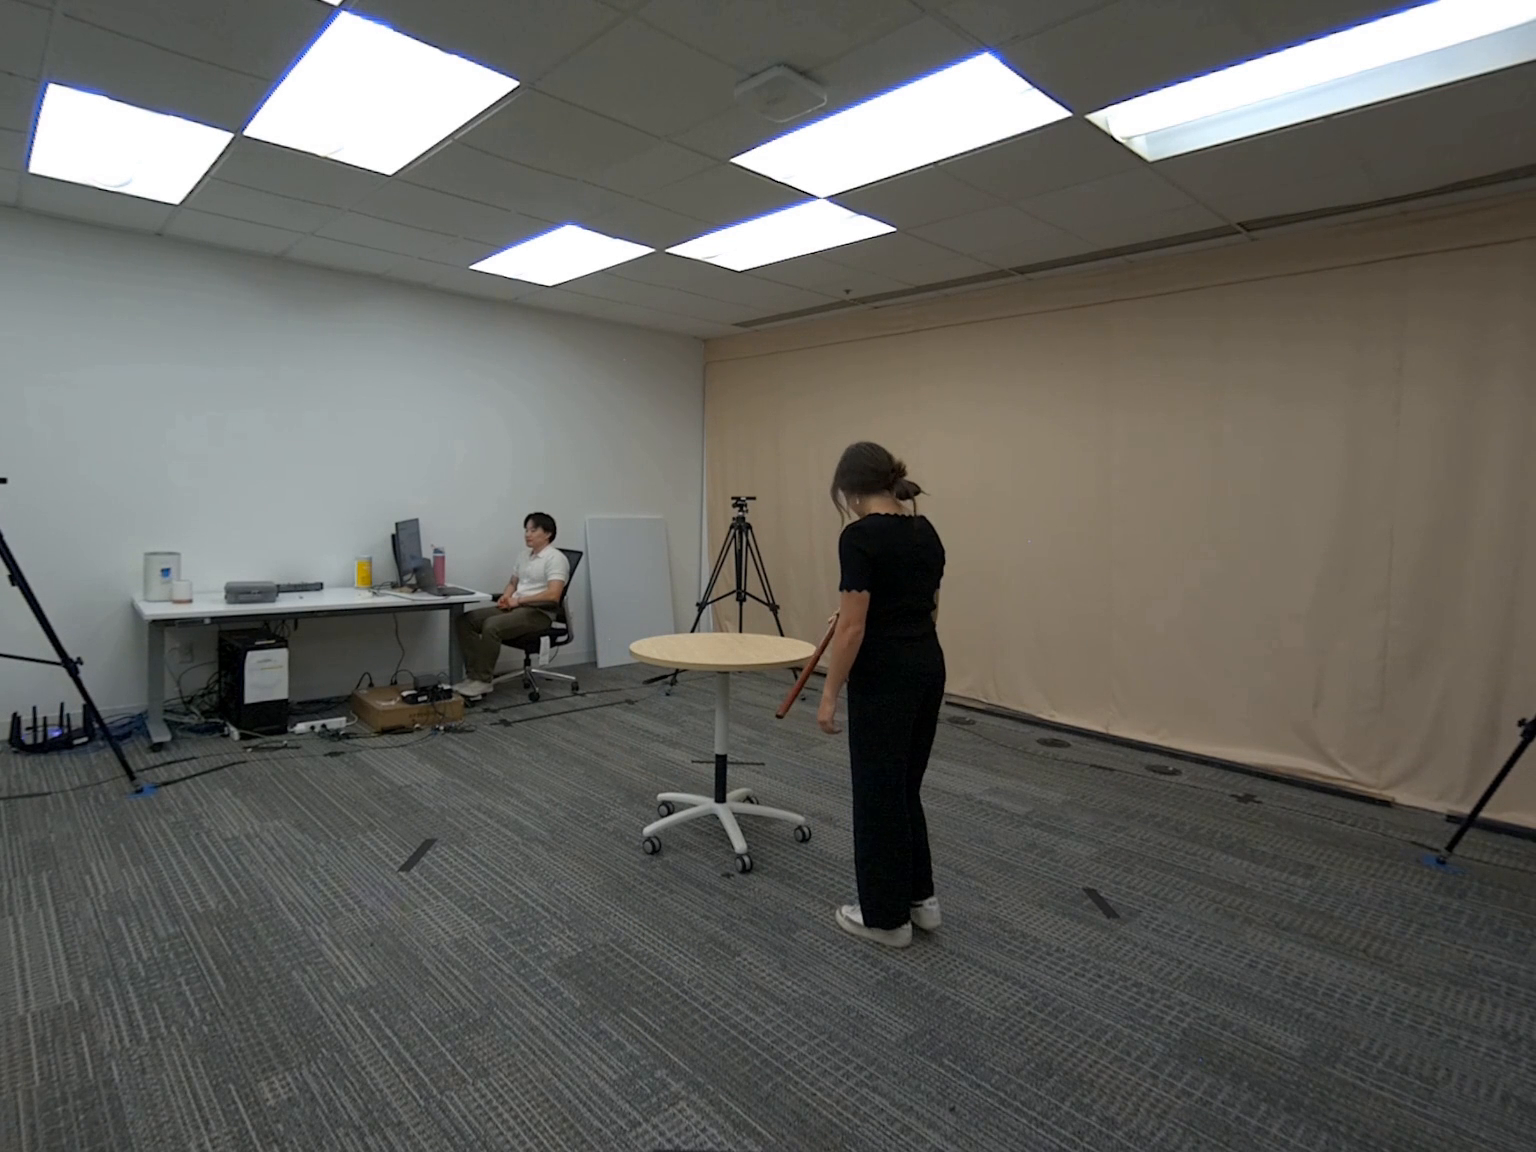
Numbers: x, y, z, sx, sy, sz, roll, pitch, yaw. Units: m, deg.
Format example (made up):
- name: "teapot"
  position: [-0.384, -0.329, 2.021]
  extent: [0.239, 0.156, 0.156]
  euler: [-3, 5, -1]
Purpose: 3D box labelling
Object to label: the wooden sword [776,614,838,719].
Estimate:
- name: "wooden sword"
  position: [0.266, 0.134, 2.978]
  extent: [0.024, 0.050, 1.030]
  euler: [-24, 24, 44]
